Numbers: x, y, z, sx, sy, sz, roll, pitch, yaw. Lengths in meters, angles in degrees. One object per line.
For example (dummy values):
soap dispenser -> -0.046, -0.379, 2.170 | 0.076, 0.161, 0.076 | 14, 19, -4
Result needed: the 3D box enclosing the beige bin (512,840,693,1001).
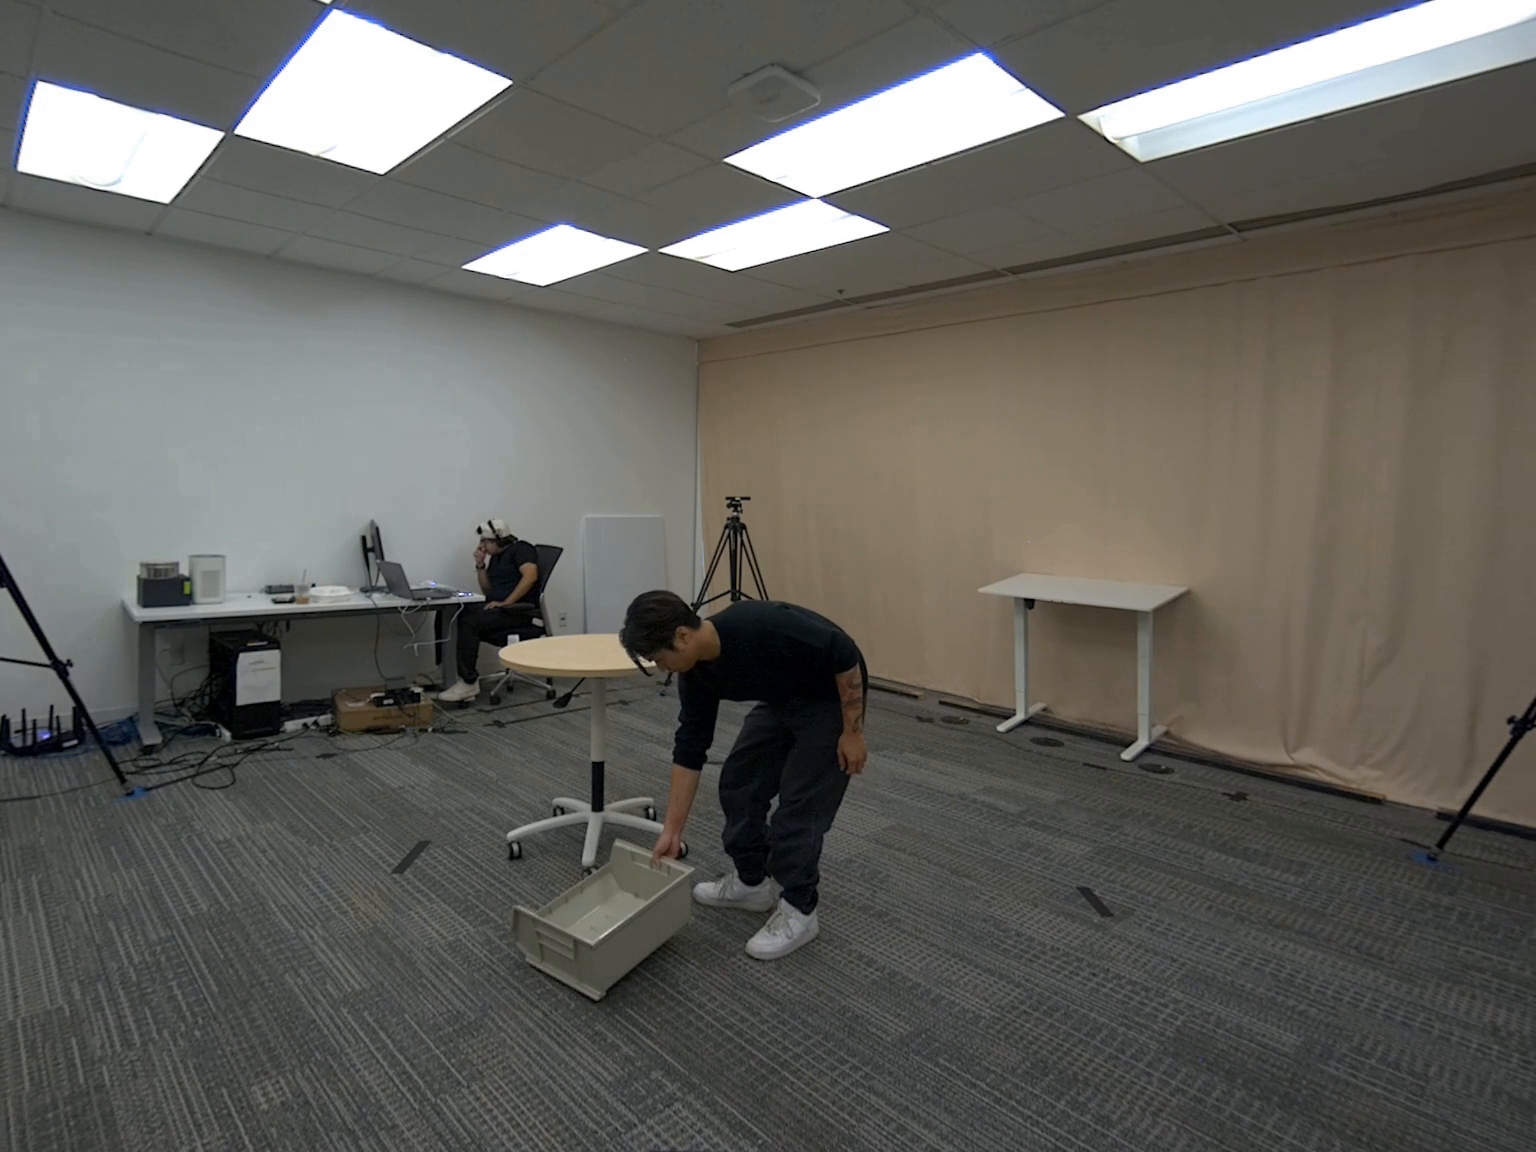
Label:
beige bin -> -0.501, 1.015, 2.525 | 0.386, 0.187, 0.416 | 5, 15, 35
